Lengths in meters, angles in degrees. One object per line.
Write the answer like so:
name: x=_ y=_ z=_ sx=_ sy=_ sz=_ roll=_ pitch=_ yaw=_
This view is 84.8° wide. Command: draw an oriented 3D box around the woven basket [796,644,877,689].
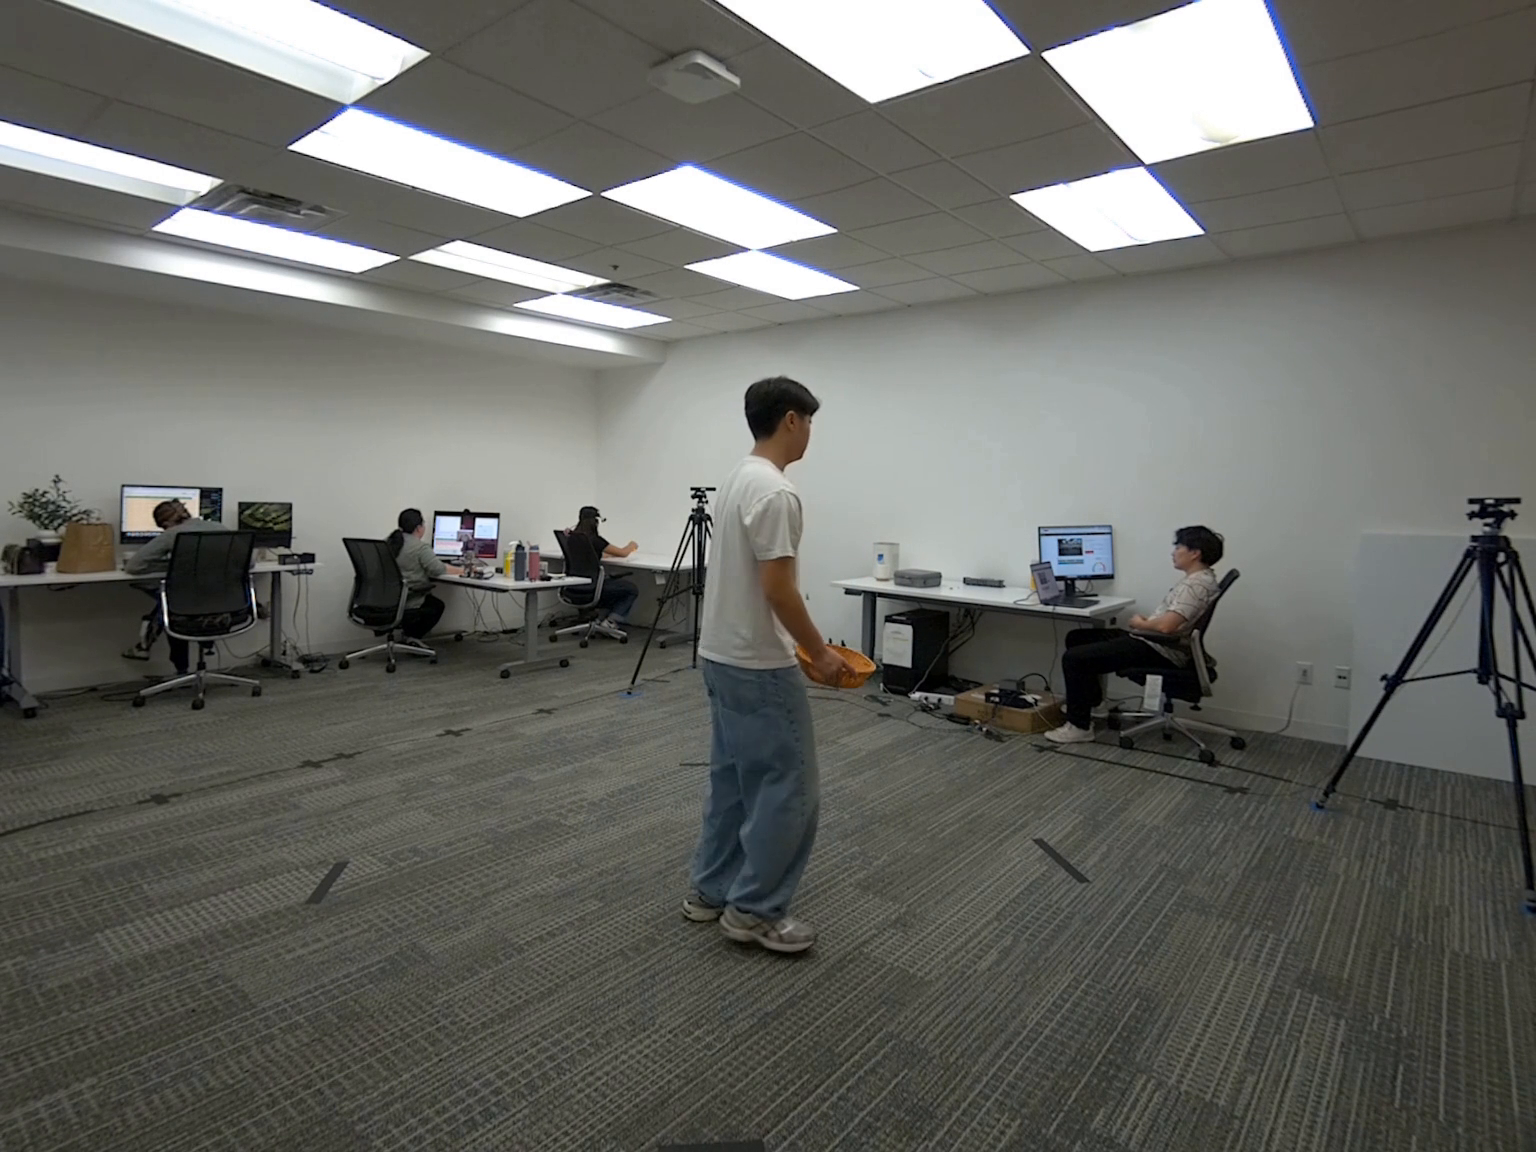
woven basket: x=0.197 y=0.302 z=2.764 sx=0.250 sy=0.073 sz=0.357 roll=5 pitch=10 yaw=-10
